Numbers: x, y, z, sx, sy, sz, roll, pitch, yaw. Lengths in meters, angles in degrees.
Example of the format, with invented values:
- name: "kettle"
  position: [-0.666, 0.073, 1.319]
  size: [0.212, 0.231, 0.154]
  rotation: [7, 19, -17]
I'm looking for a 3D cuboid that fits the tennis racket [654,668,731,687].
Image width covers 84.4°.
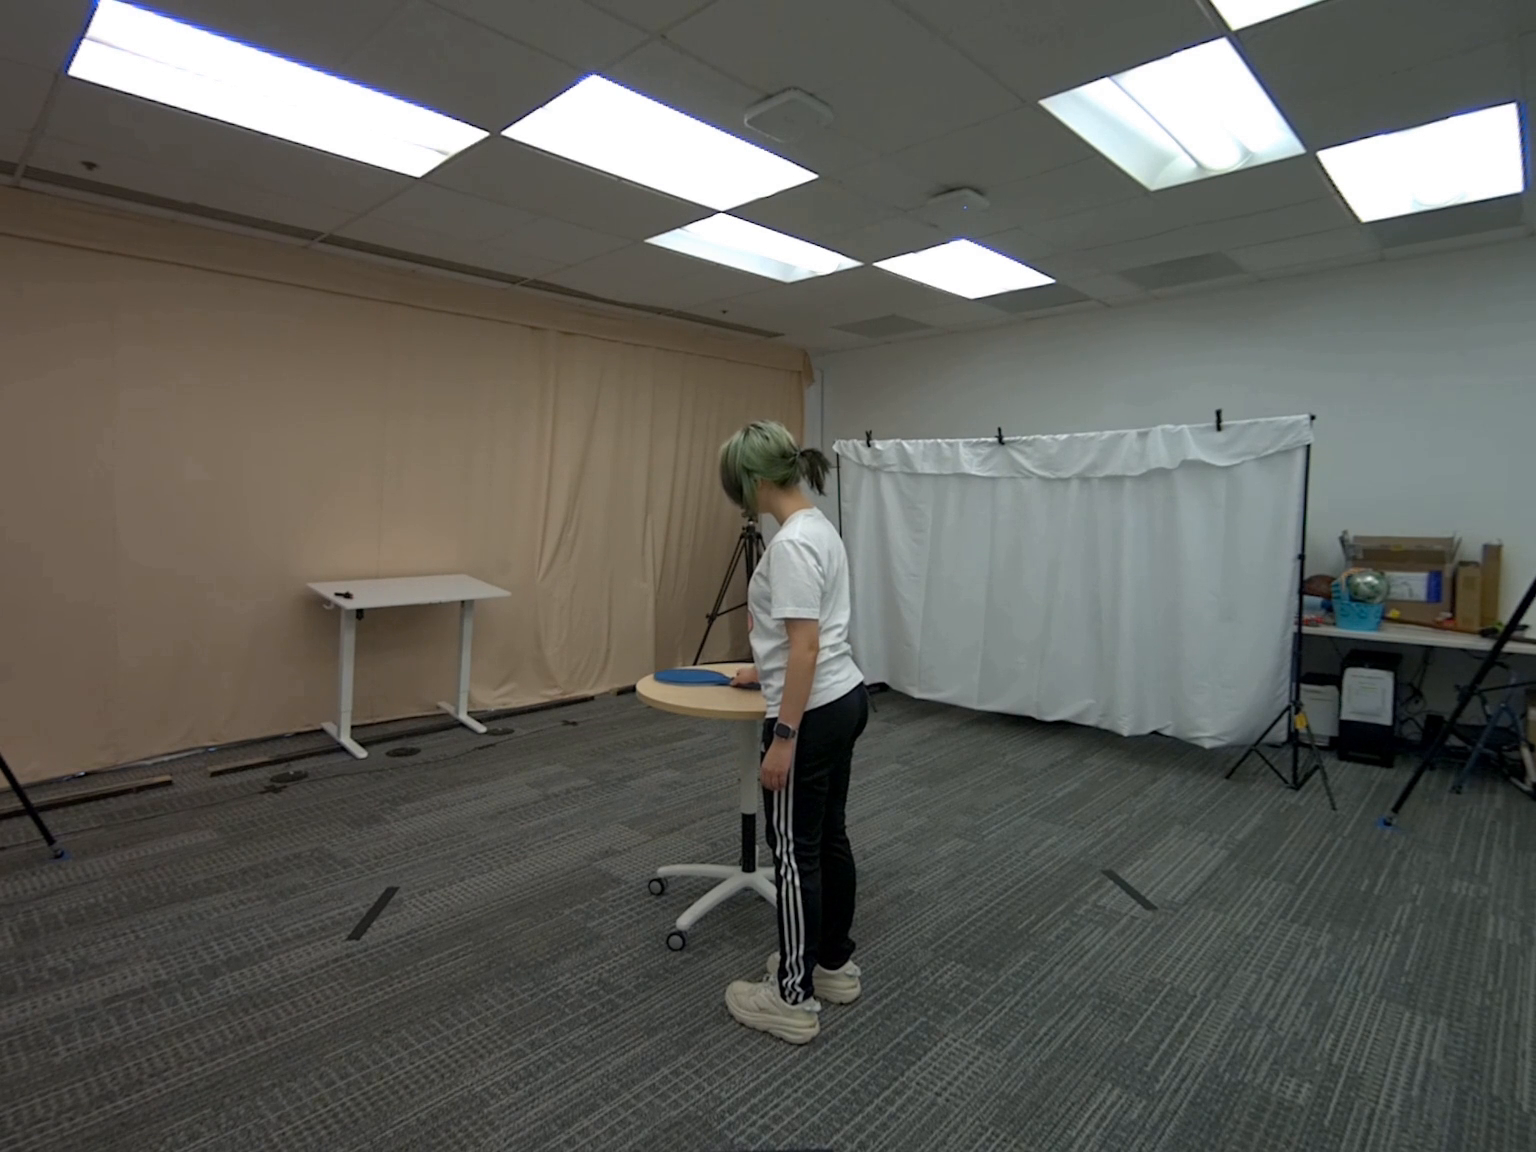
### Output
- name: "tennis racket"
  position: [-0.200, 0.359, 2.884]
  size: [0.447, 0.032, 0.207]
  rotation: [3, 6, 37]
